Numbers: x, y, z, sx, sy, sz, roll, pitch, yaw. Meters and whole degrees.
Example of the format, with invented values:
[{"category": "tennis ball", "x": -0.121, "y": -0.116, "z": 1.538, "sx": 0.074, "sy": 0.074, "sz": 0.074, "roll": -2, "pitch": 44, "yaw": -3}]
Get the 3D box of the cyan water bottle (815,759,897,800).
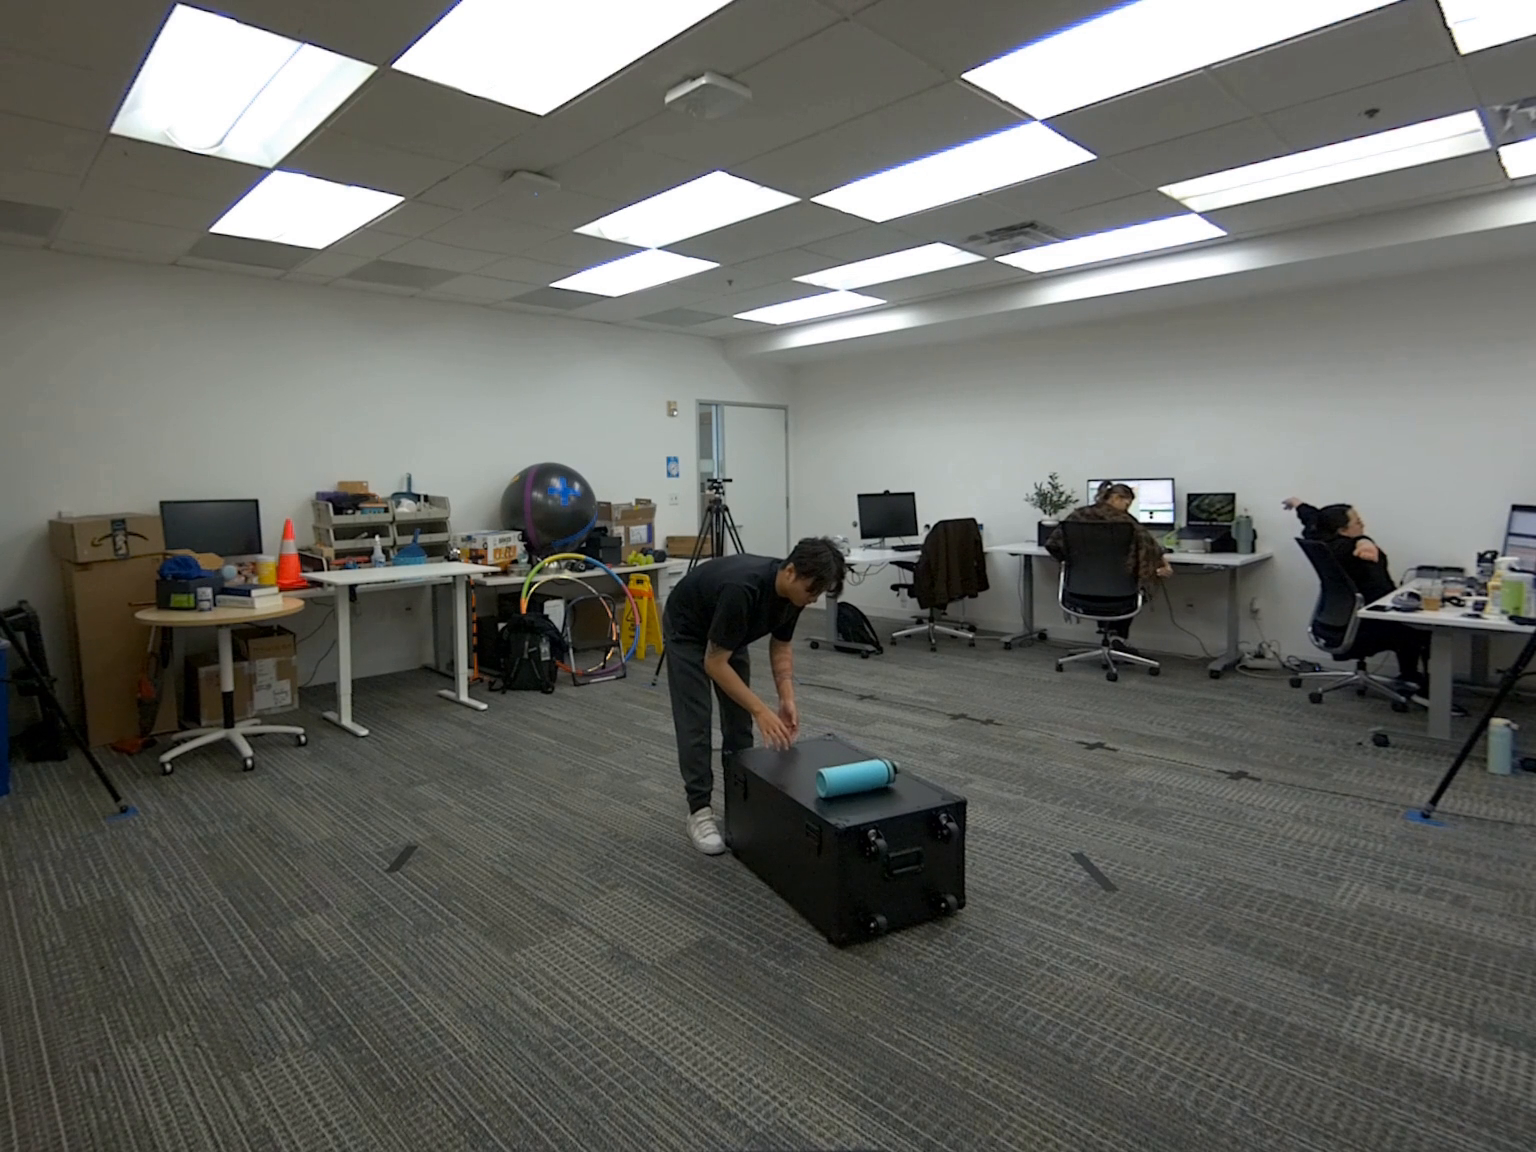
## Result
[{"category": "cyan water bottle", "x": 0.300, "y": 0.650, "z": 2.784, "sx": 0.278, "sy": 0.092, "sz": 0.094, "roll": -3, "pitch": 5, "yaw": -21}]
